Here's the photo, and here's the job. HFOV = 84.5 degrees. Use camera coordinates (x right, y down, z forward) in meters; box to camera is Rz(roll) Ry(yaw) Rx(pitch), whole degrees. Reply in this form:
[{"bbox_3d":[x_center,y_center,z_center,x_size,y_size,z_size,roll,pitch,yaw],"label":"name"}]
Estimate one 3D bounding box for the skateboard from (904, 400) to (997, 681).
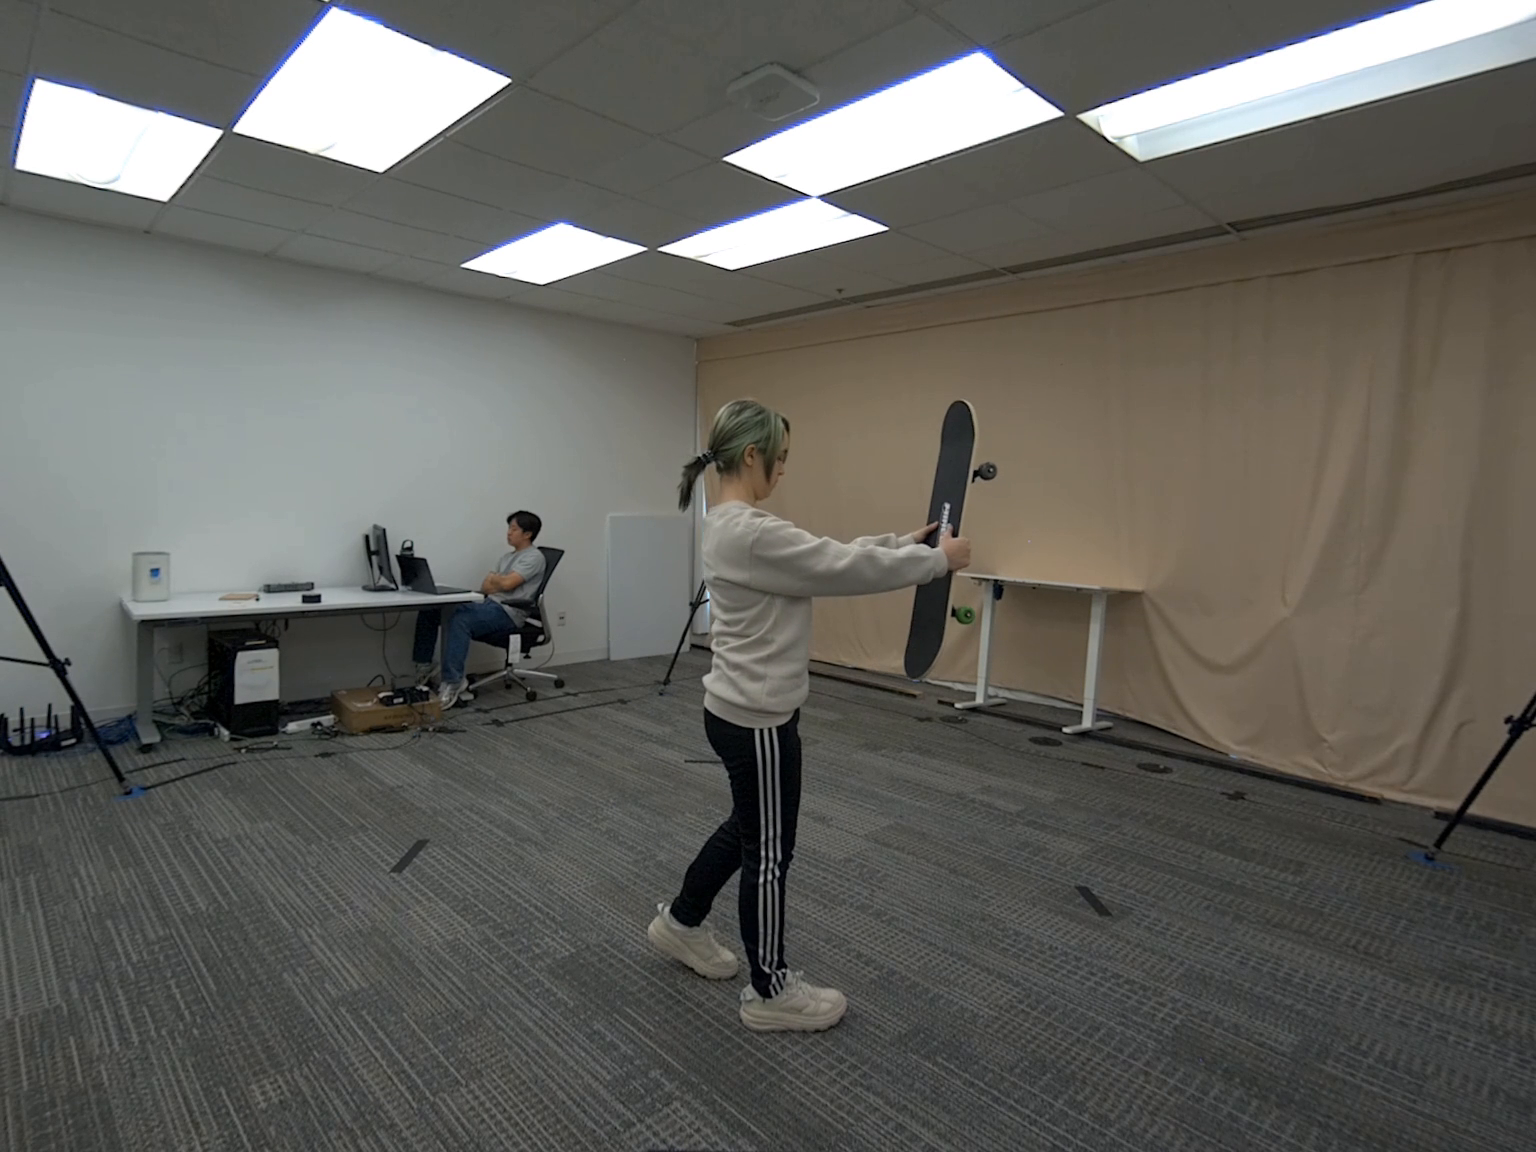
[{"bbox_3d":[0.507,-0.095,2.337,0.108,0.788,0.196,11,-5,-19],"label":"skateboard"}]
